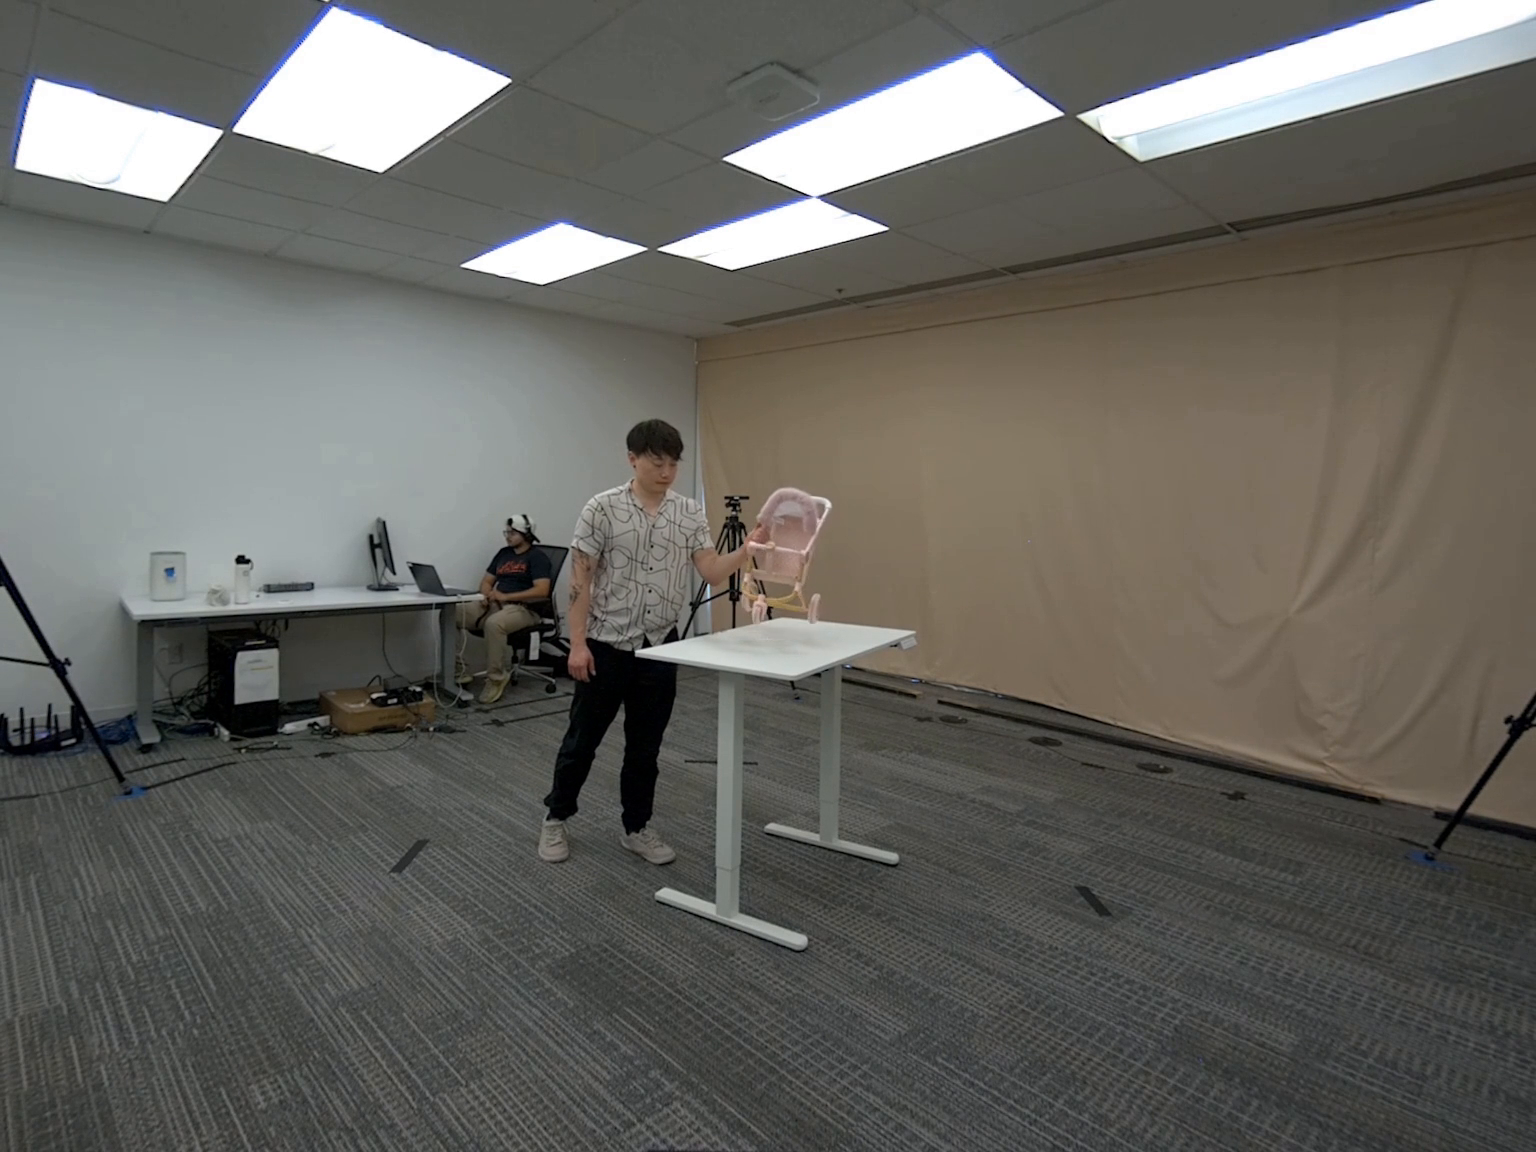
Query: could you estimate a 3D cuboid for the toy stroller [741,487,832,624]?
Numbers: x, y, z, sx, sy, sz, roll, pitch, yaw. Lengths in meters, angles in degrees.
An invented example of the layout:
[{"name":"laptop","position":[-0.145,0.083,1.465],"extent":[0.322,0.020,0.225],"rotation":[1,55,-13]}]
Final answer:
[{"name":"toy stroller","position":[0.041,-0.075,2.979],"extent":[0.287,0.538,0.333],"rotation":[8,-10,22]}]
